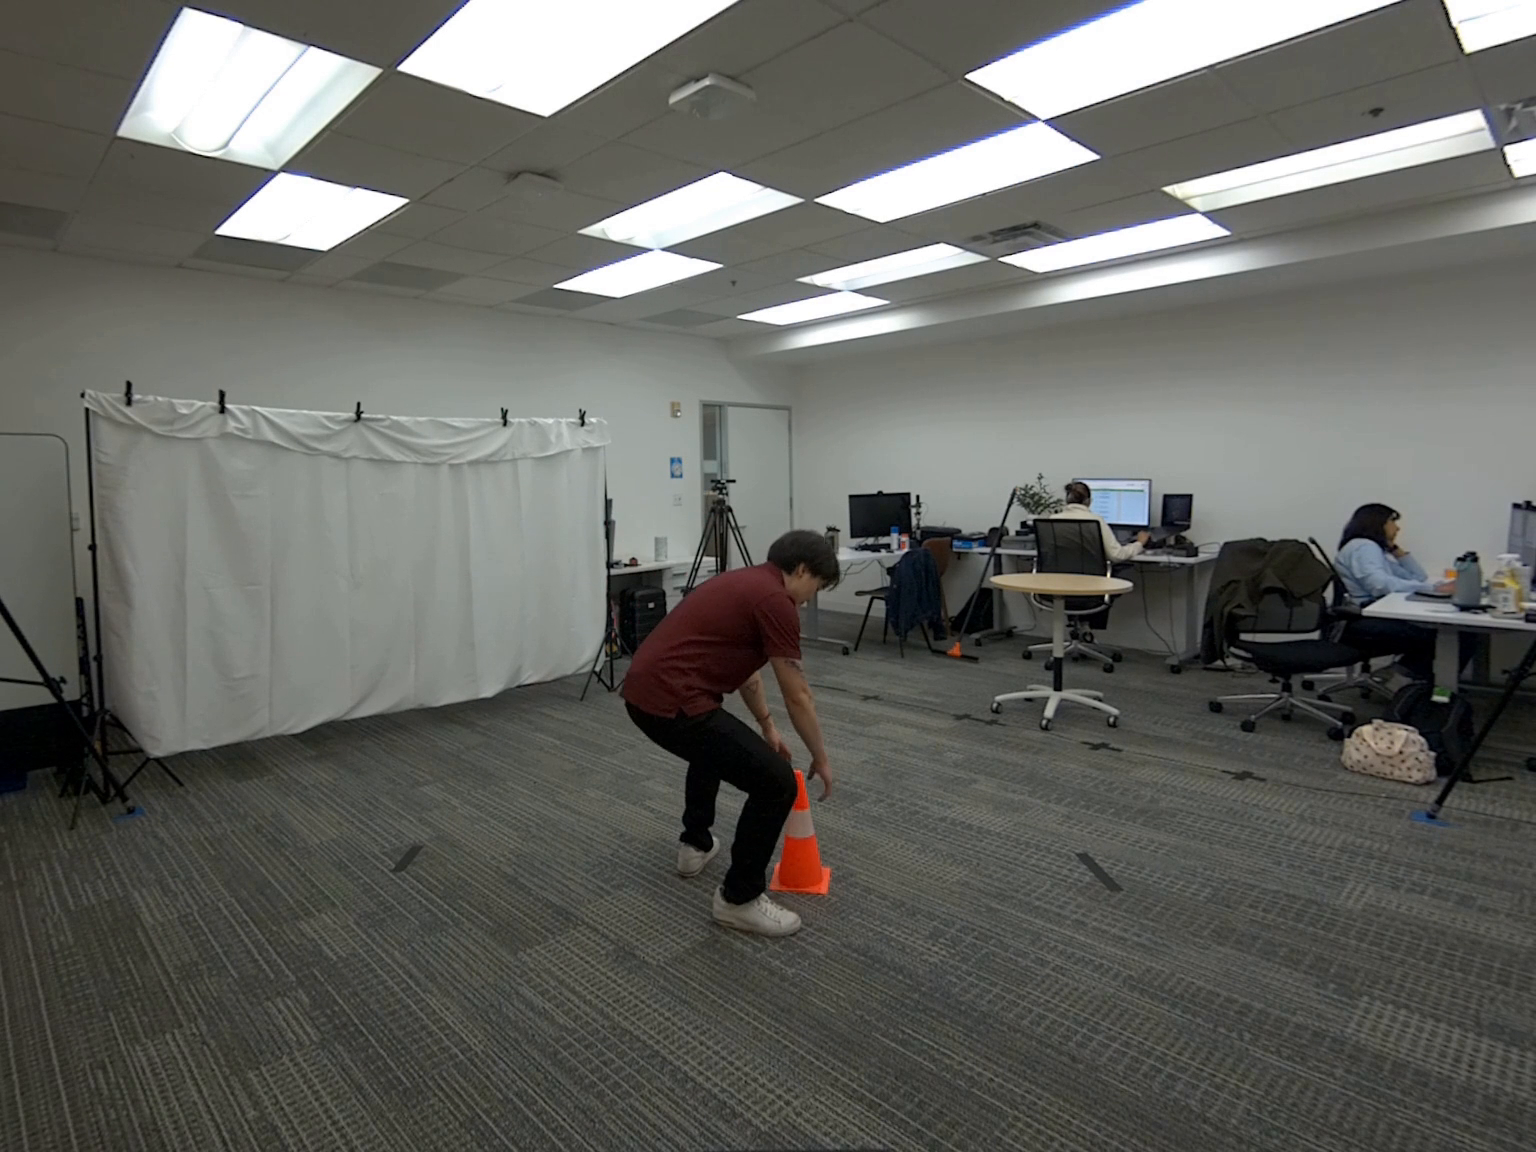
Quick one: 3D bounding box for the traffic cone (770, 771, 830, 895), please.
[{"bbox_3d":[0.119,0.874,2.972,0.208,0.382,0.201,1,4,13],"label":"traffic cone"}]
